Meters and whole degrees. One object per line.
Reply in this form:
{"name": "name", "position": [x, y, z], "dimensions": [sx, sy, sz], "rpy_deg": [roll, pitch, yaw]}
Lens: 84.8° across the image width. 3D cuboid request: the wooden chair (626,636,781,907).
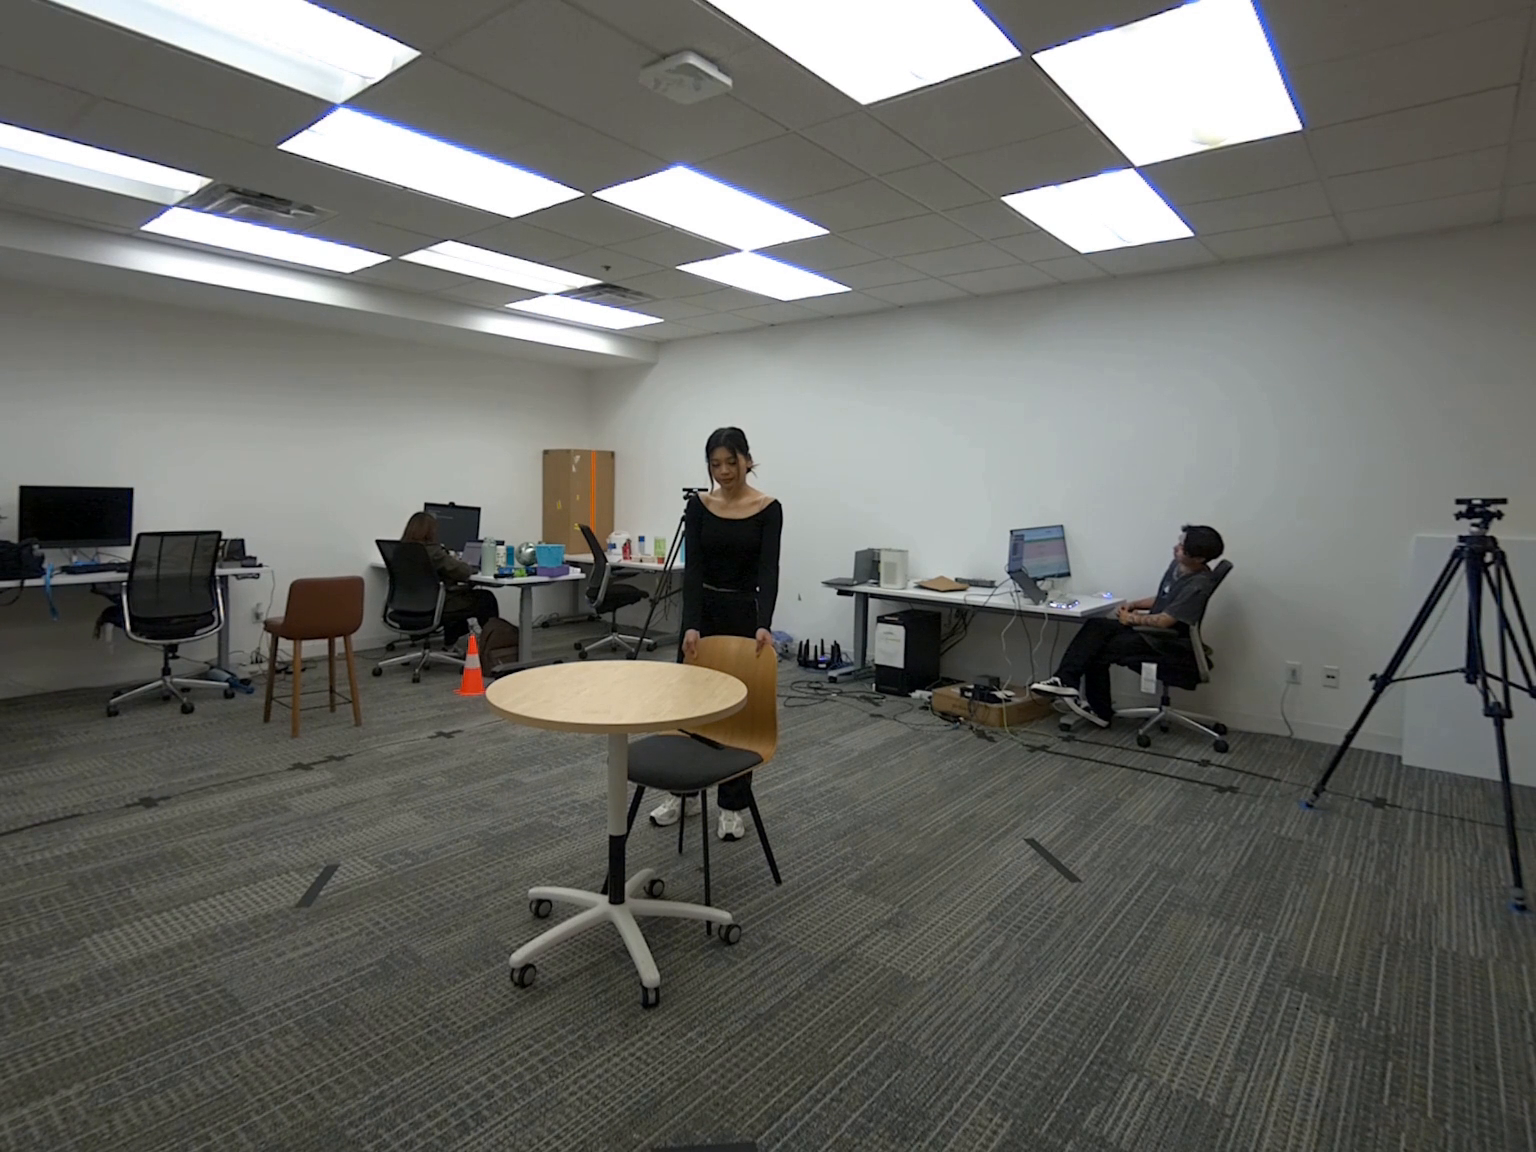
{"name": "wooden chair", "position": [-0.255, 0.655, 2.922], "dimensions": [0.493, 0.878, 0.507], "rpy_deg": [4, 0, 33]}
